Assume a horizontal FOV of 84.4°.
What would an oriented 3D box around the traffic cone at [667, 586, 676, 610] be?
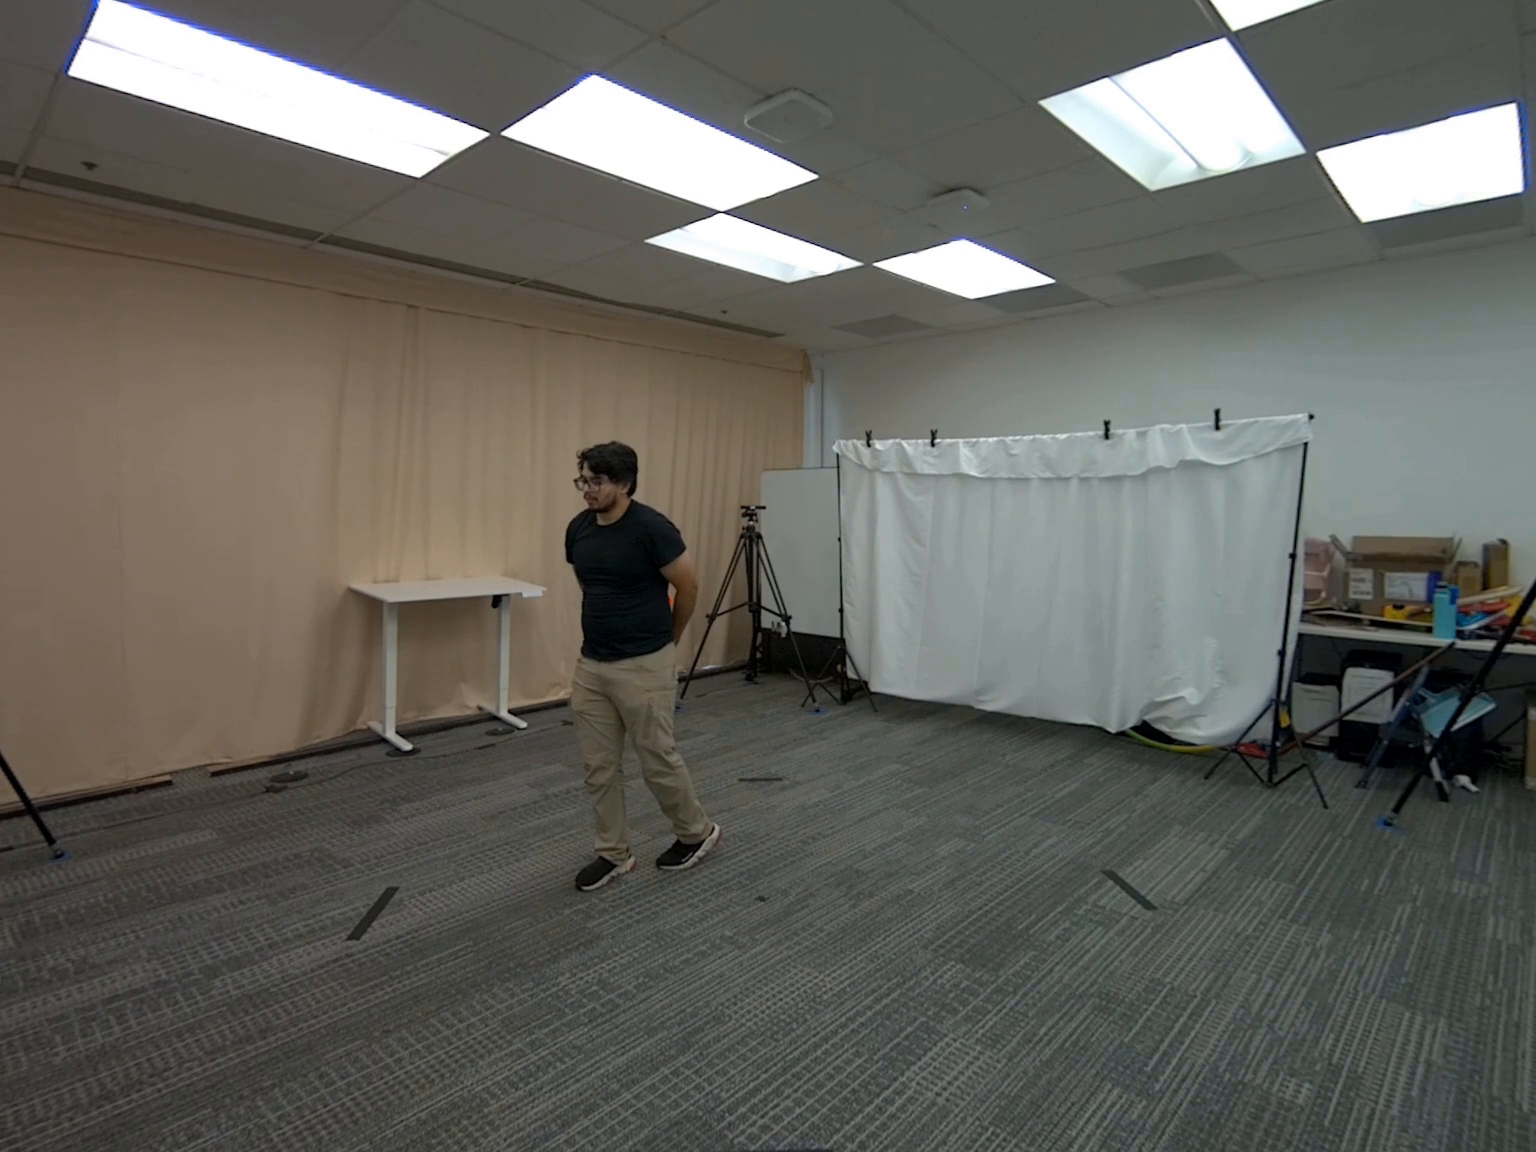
[{"bbox_3d":[-0.485,0.263,3.355,0.206,0.390,0.199,-12,-29,13],"label":"traffic cone"}]
